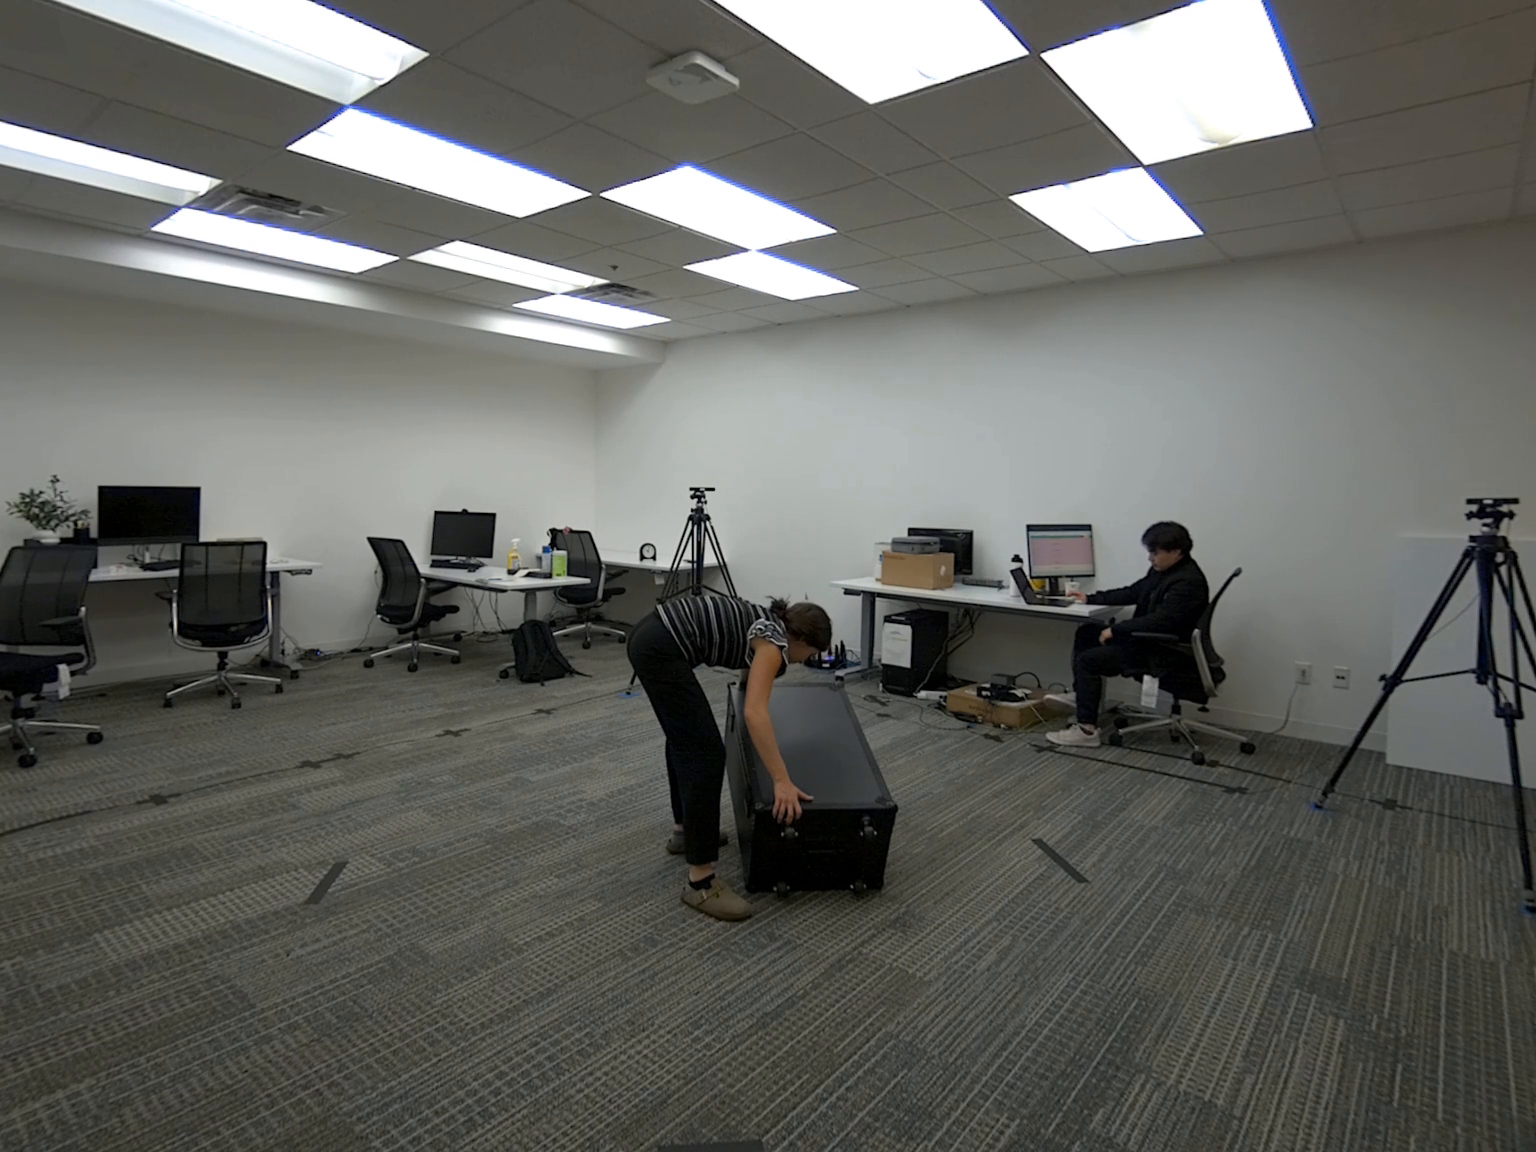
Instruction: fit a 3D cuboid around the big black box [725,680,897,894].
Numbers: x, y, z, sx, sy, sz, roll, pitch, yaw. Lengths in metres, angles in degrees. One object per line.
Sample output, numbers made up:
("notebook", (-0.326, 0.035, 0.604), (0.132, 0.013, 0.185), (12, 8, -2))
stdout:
("big black box", (0.125, 0.791, 3.218), (0.516, 0.389, 0.885), (3, 23, -10))
